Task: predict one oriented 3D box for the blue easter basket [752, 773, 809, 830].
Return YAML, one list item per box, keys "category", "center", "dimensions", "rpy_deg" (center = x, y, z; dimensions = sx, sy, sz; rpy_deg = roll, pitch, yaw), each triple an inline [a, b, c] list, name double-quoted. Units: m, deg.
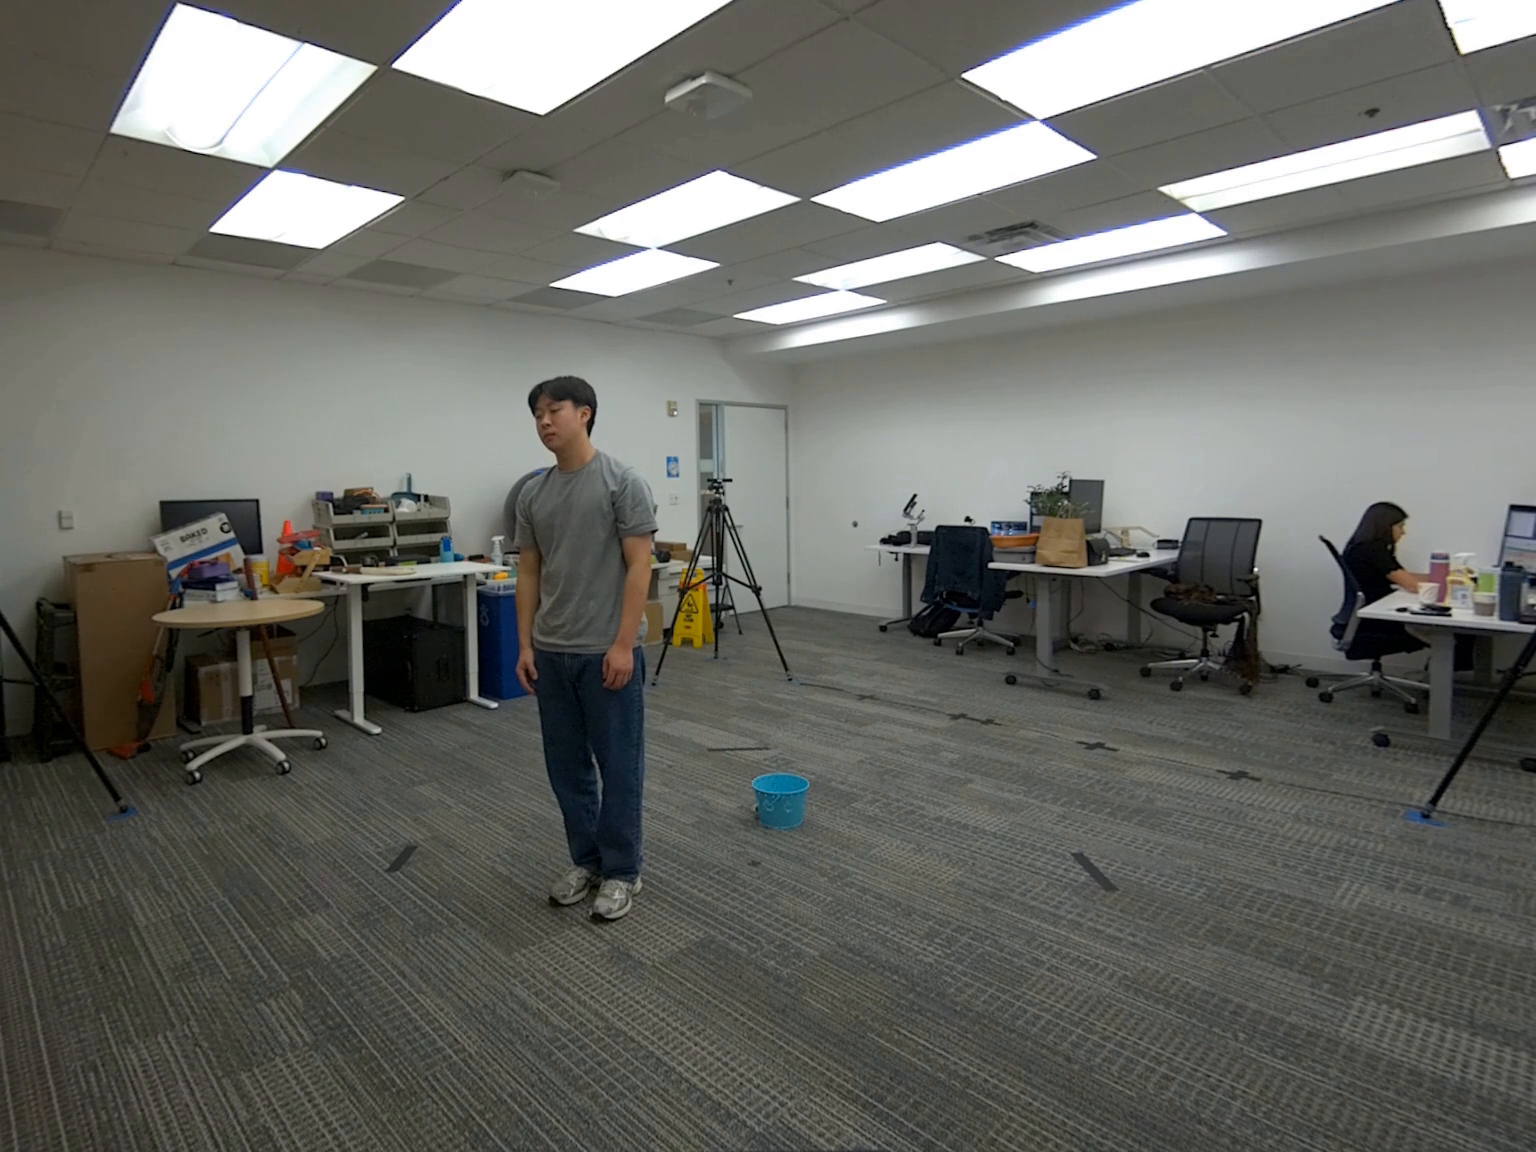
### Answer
- category: "blue easter basket"
  center: [0.053, 0.920, 3.502]
  dimensions: [0.243, 0.155, 0.245]
  rpy_deg: [-1, 6, -2]
